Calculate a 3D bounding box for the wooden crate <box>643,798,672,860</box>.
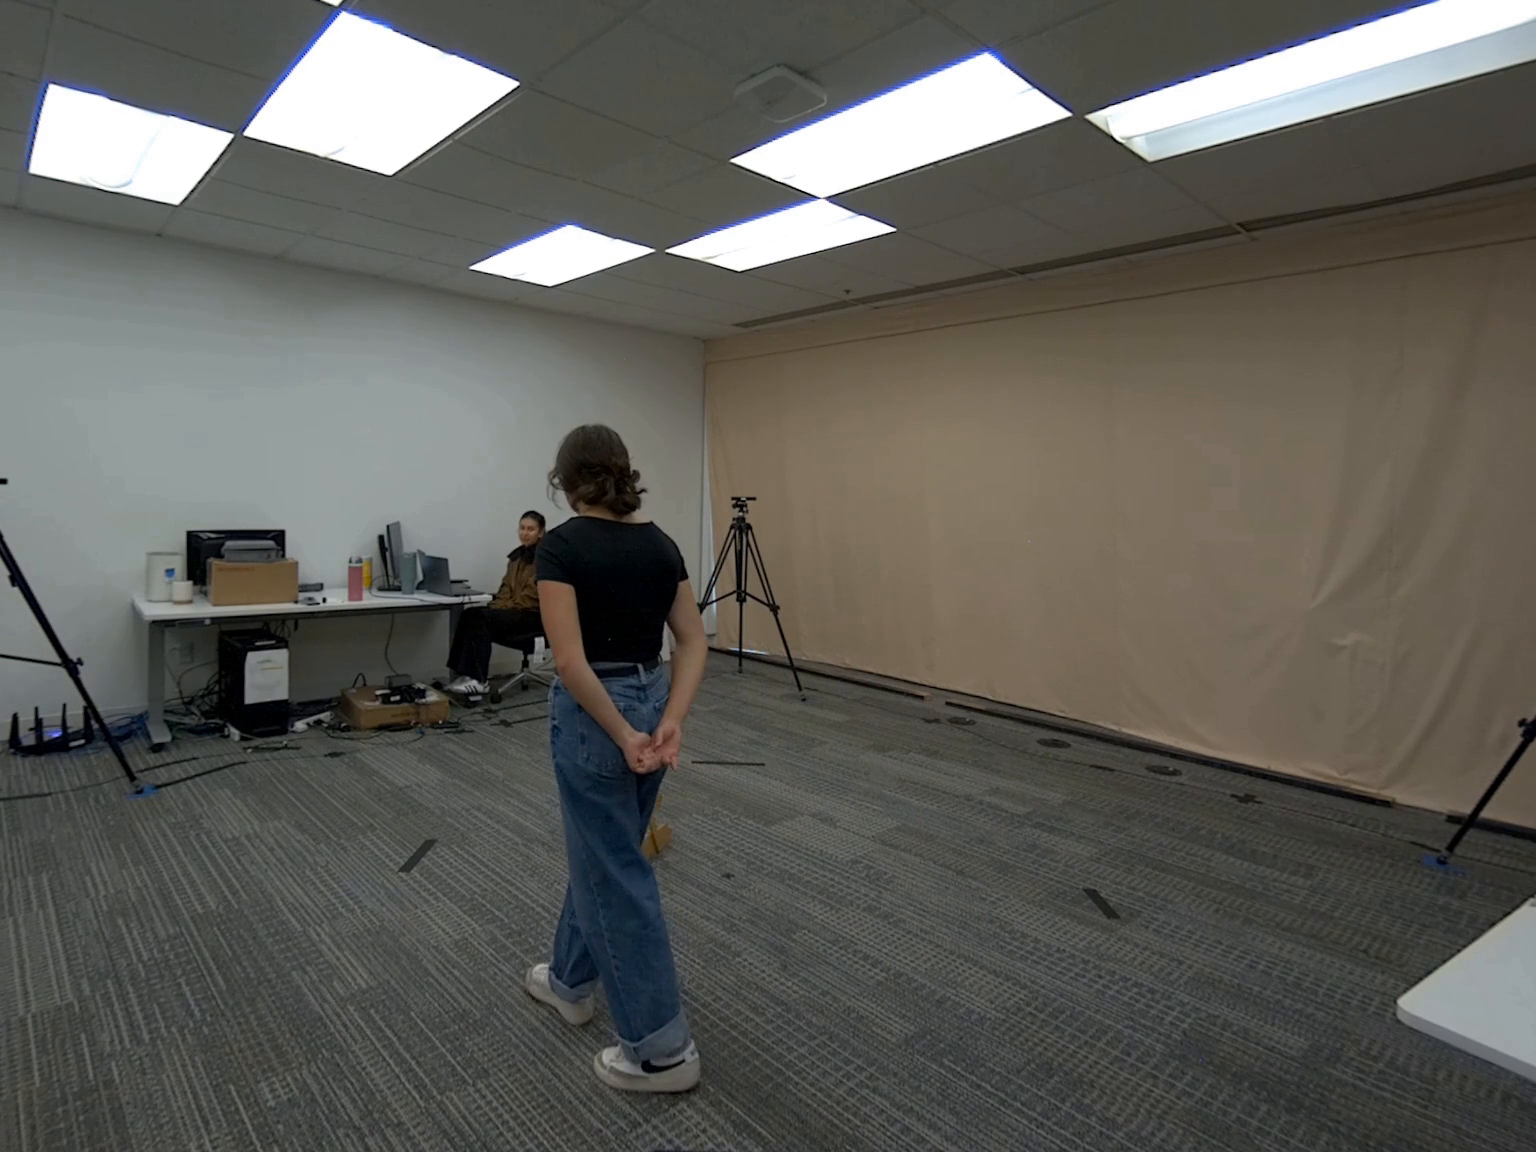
[{"bbox_3d":[-0.584,0.946,3.323,0.330,0.272,0.297,3,5,22],"label":"wooden crate"}]
